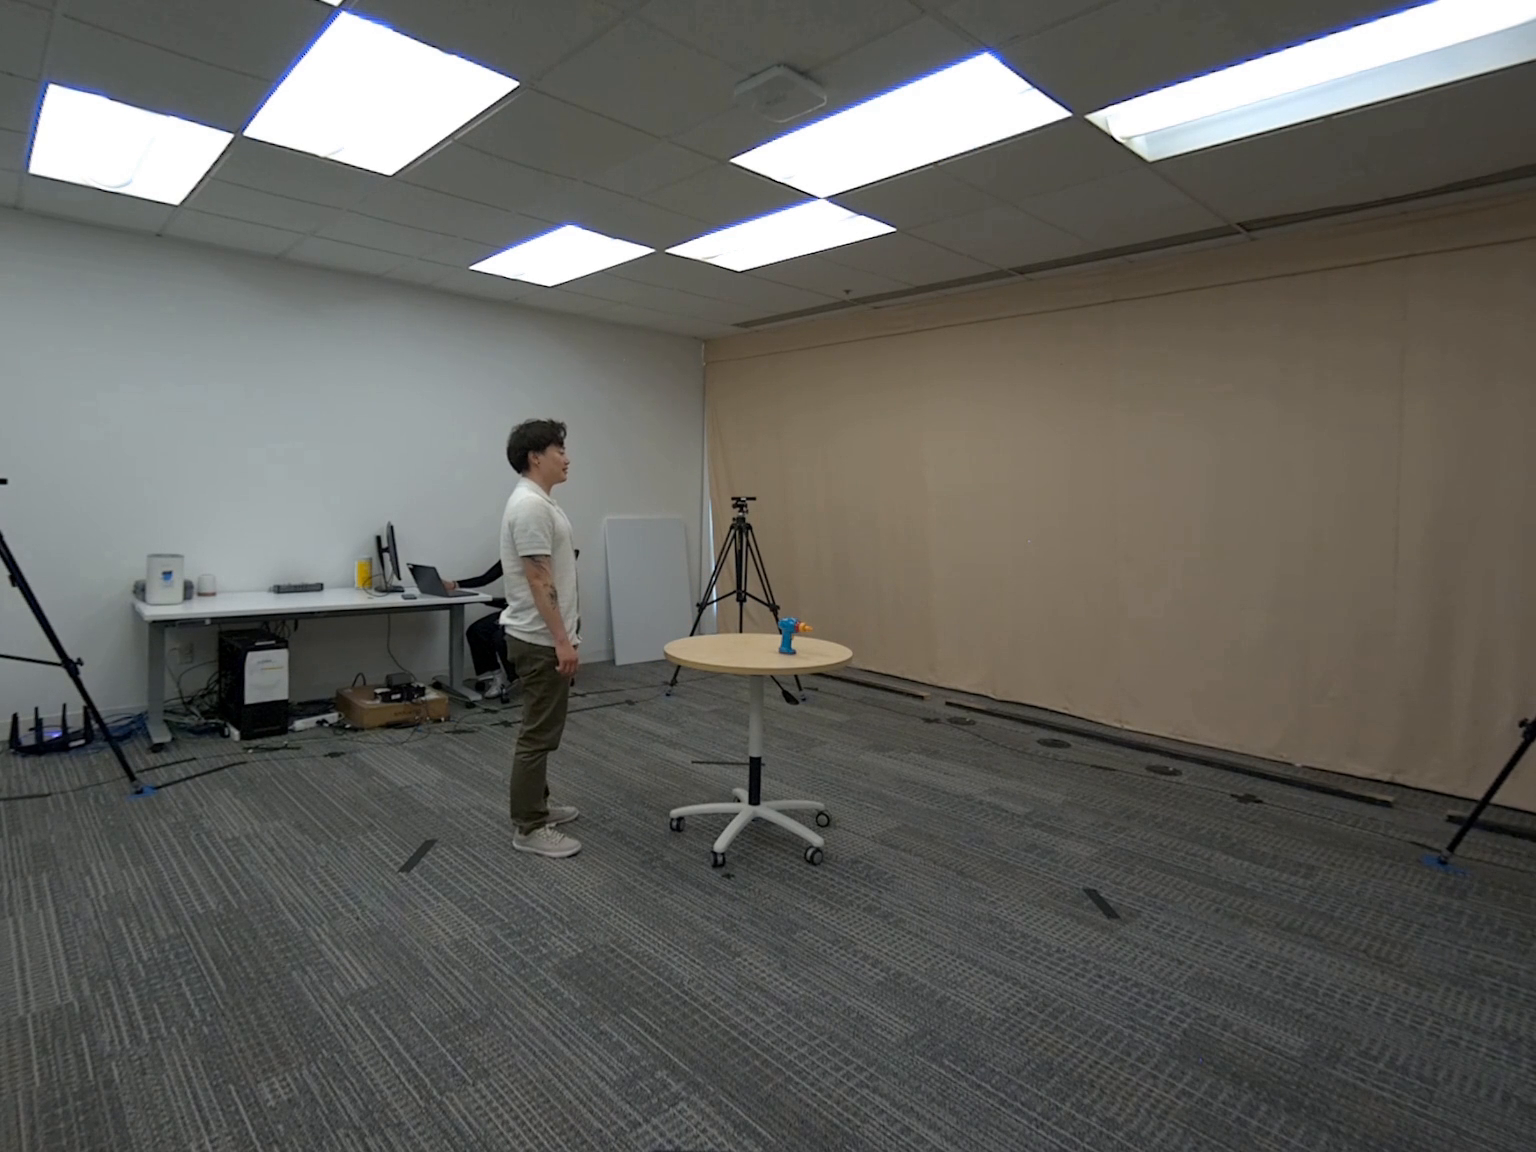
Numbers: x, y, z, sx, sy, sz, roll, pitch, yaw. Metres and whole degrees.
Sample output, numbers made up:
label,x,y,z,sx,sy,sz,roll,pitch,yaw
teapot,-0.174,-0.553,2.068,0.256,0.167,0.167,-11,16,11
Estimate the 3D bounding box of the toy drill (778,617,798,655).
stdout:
label,x,y,z,sx,sy,sz,roll,pitch,yaw
toy drill,0.098,0.238,3.316,0.174,0.145,0.060,6,7,39
